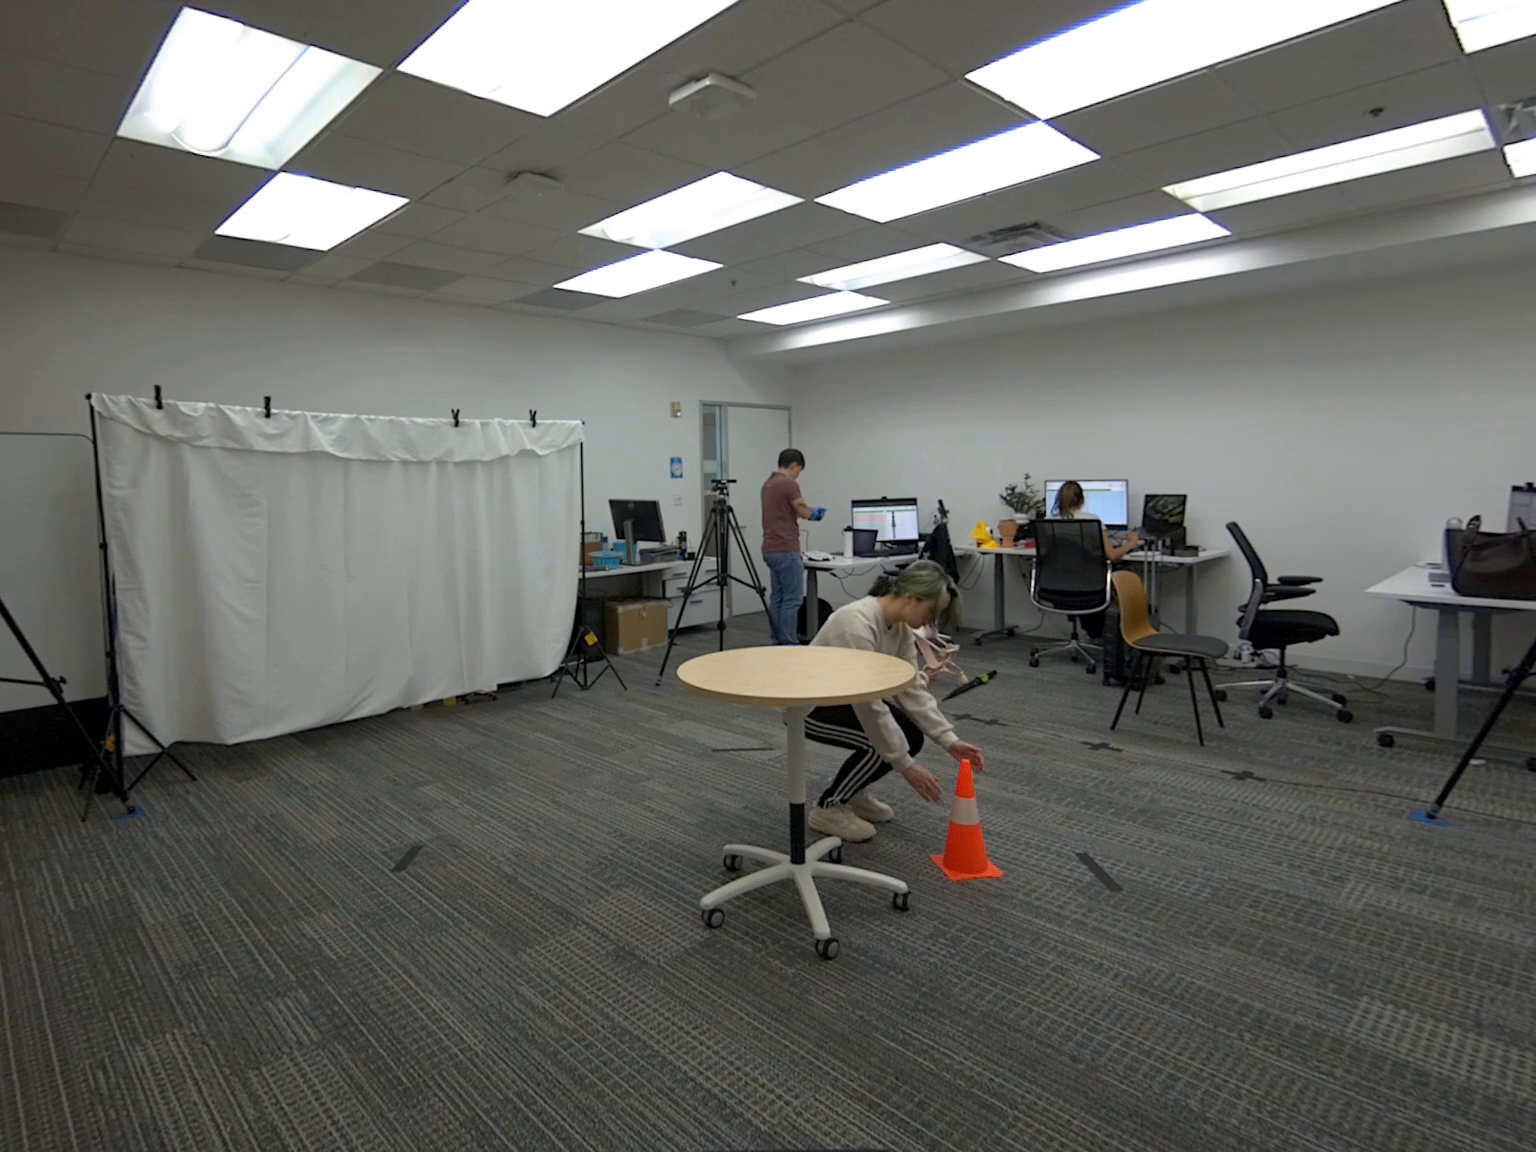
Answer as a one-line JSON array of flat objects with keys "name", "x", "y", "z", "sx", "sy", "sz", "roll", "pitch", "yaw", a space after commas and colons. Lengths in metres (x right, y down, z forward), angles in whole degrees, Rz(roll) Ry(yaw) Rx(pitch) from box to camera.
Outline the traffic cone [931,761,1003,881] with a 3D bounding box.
[{"name": "traffic cone", "x": 0.705, "y": 0.856, "z": 3.053, "sx": 0.201, "sy": 0.382, "sz": 0.207, "roll": -3, "pitch": 4, "yaw": -10}]
